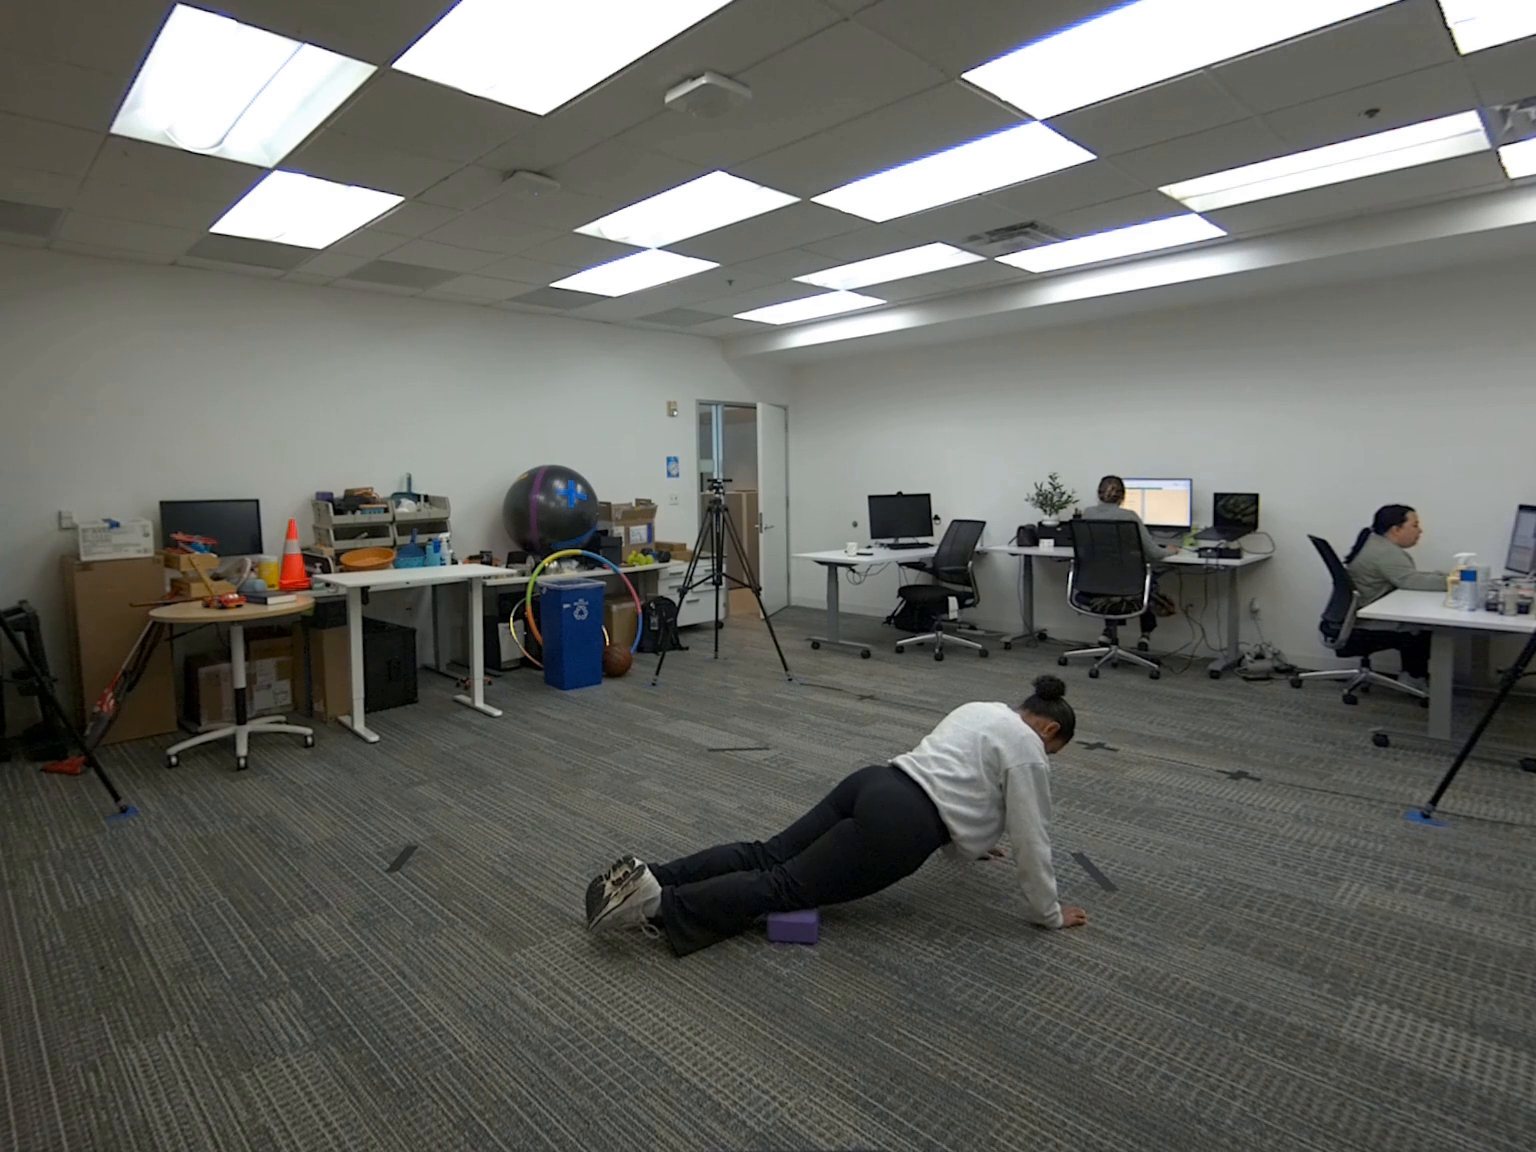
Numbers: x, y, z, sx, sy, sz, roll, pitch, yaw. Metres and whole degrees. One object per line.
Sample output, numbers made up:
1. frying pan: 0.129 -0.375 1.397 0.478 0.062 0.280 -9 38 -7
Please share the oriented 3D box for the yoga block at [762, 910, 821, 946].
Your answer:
1. yoga block: 0.077 1.047 2.677 0.150 0.076 0.229 -2 7 8
